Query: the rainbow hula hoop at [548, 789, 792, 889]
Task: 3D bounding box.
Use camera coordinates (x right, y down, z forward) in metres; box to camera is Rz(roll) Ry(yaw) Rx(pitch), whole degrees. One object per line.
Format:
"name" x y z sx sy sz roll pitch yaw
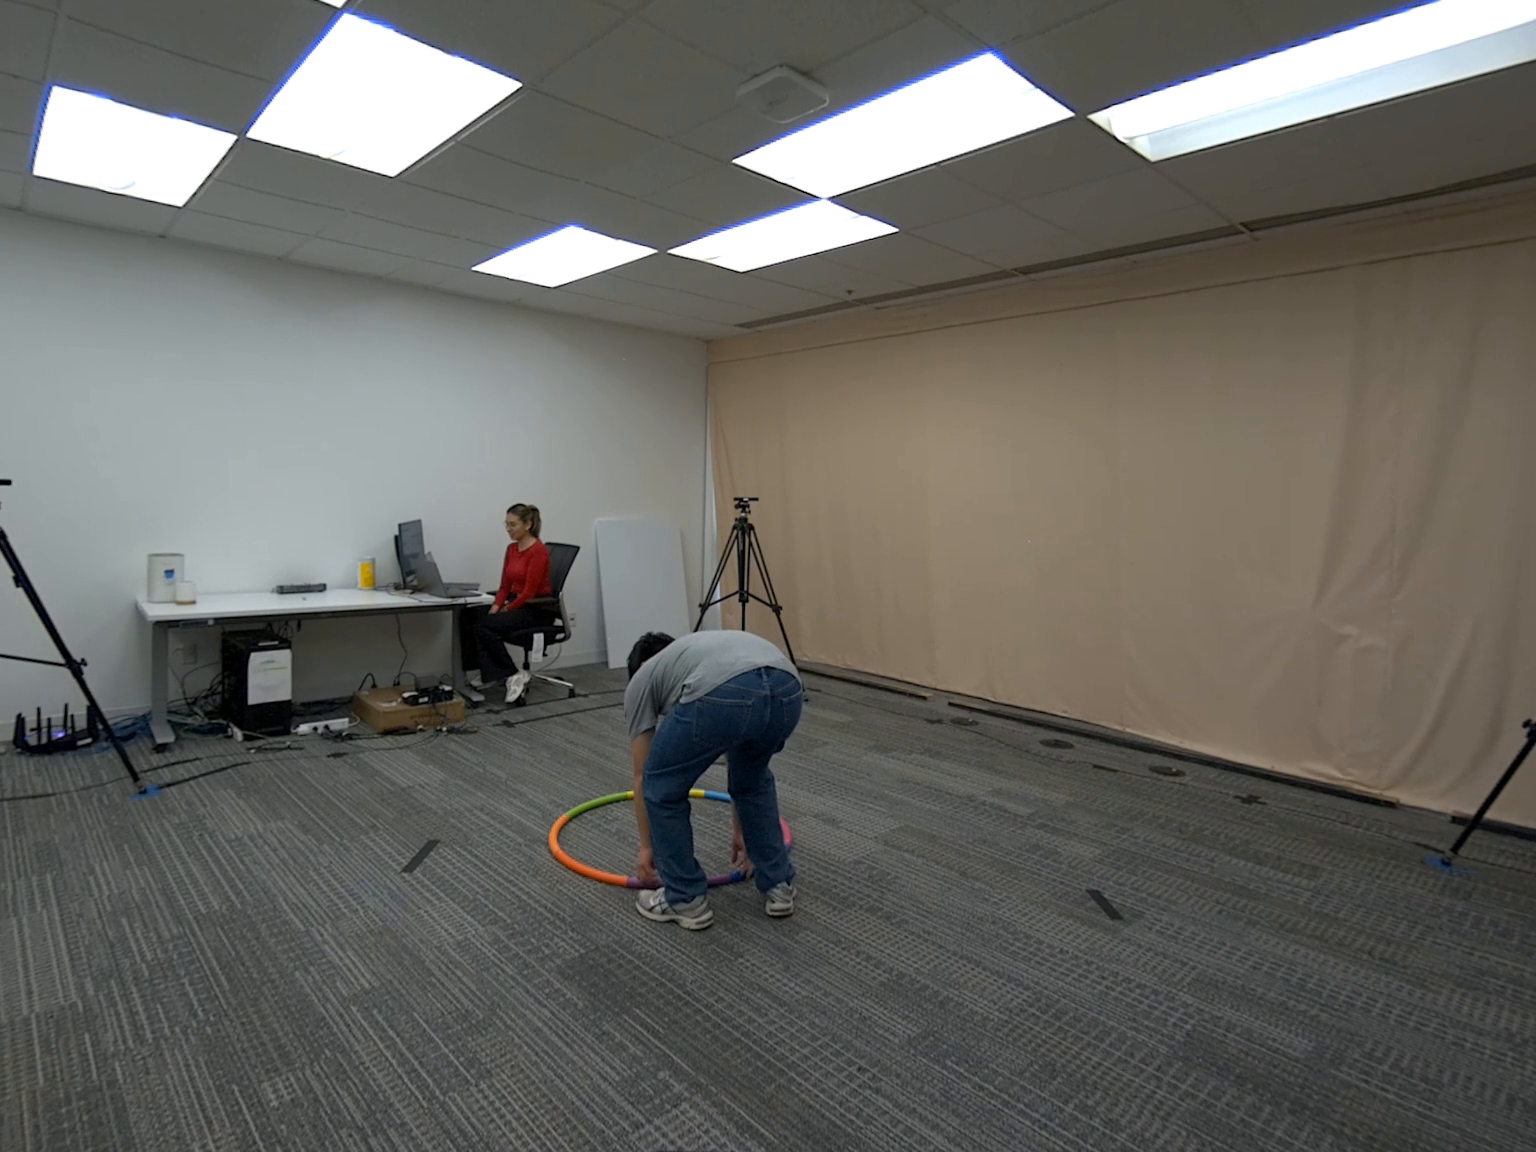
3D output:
"rainbow hula hoop" -0.407 1.040 3.465 0.978 0.035 0.982 1 5 -1
